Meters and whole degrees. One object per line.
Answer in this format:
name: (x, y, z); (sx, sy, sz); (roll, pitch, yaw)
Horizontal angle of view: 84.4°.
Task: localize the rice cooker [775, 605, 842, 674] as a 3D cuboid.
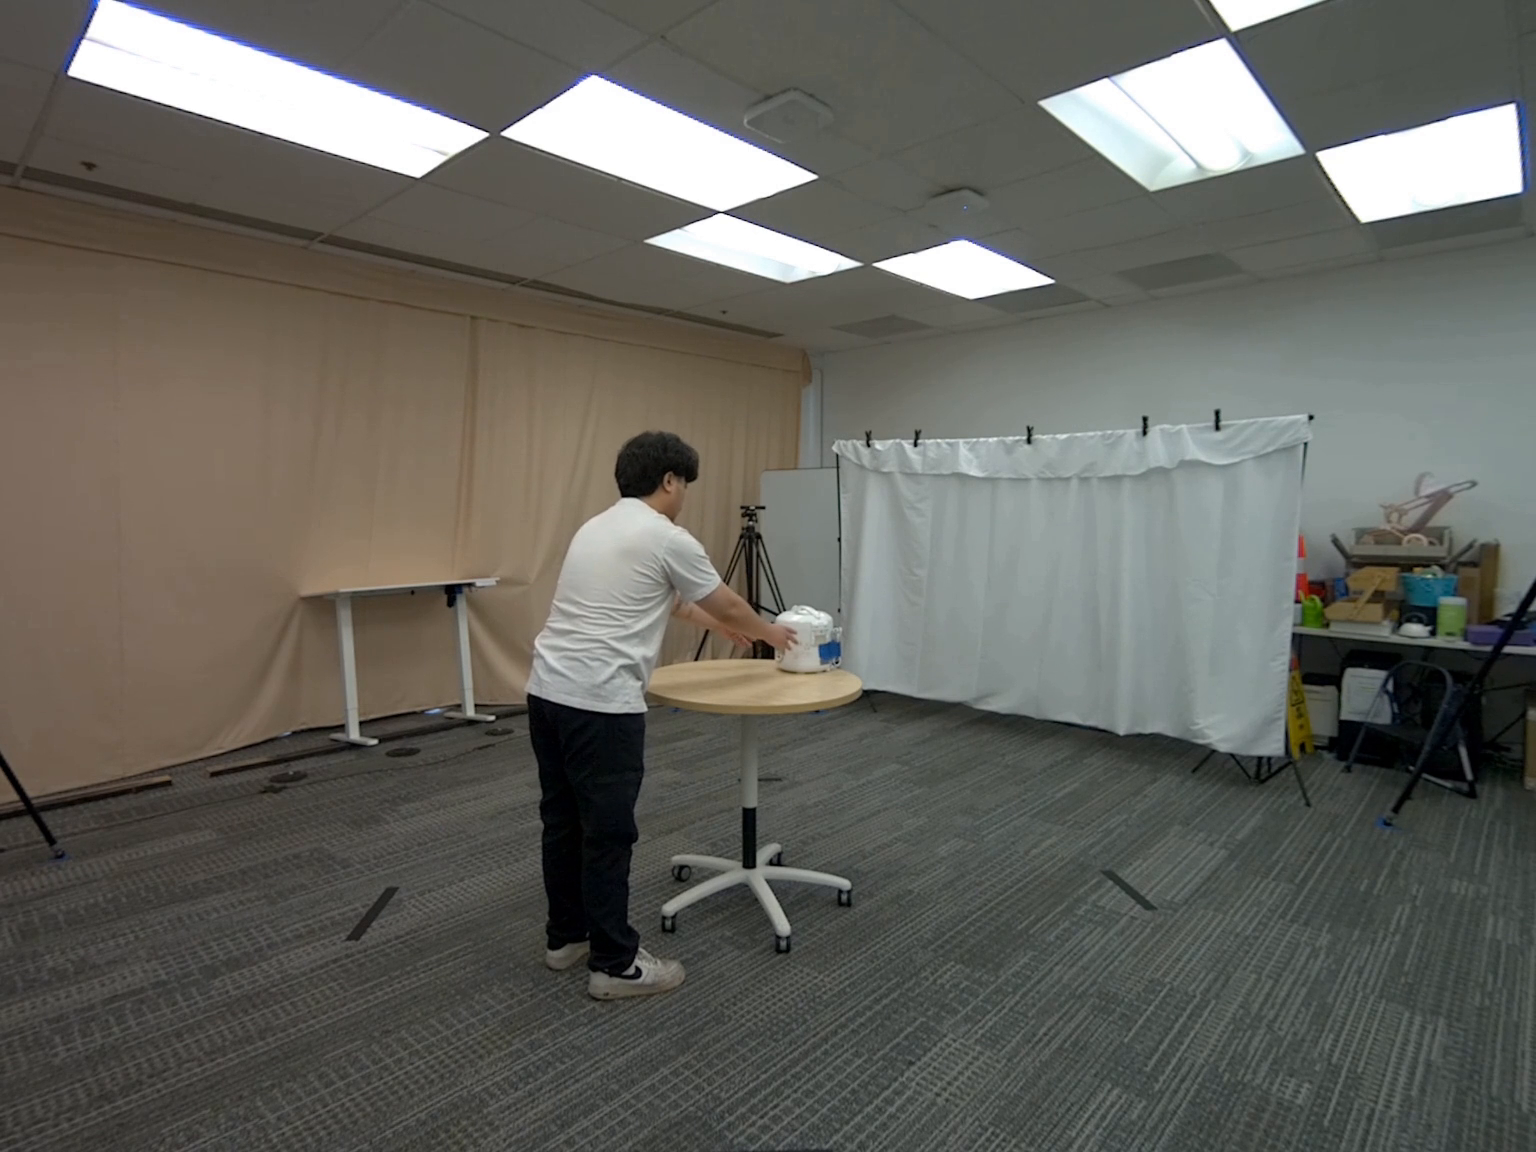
rice cooker: (0.134, 0.226, 3.059); (0.212, 0.232, 0.227); (-1, 3, -28)
